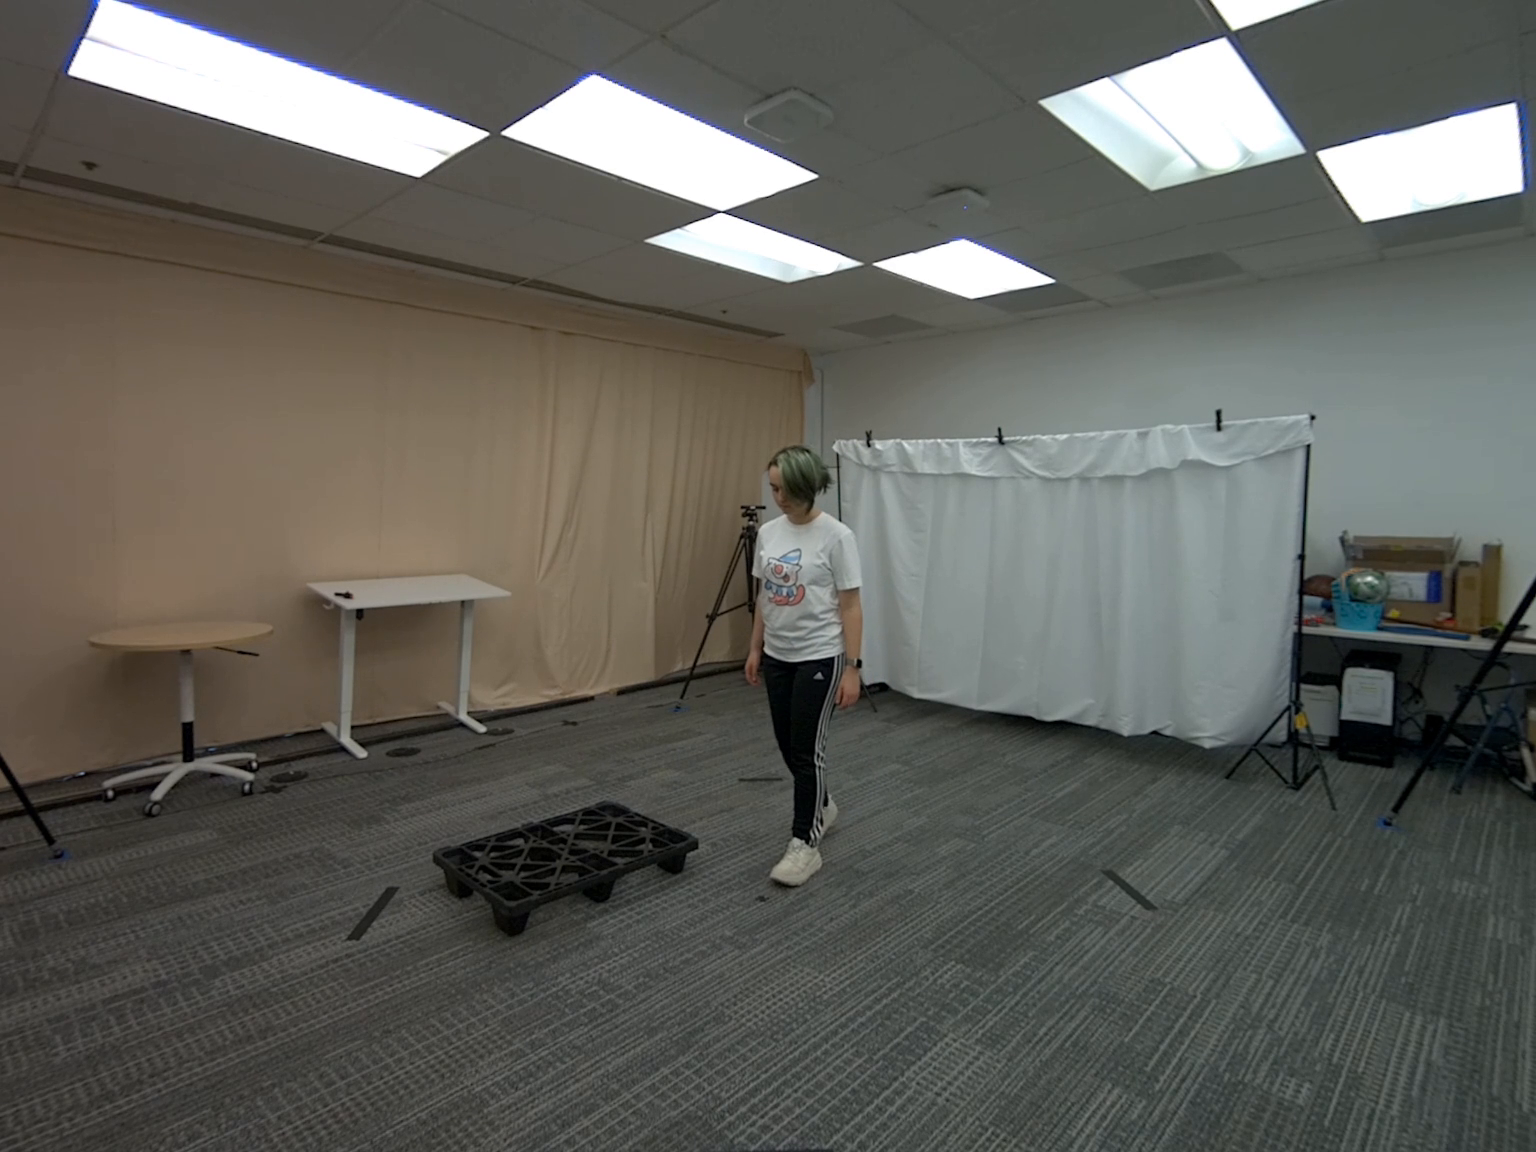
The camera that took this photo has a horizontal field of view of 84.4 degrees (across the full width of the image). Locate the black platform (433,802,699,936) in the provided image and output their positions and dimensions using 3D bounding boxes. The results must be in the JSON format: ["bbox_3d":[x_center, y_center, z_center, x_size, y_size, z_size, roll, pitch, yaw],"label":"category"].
[{"bbox_3d":[-0.741,1.072,3.137,0.781,0.143,0.625,-5,7,-44],"label":"black platform"}]
